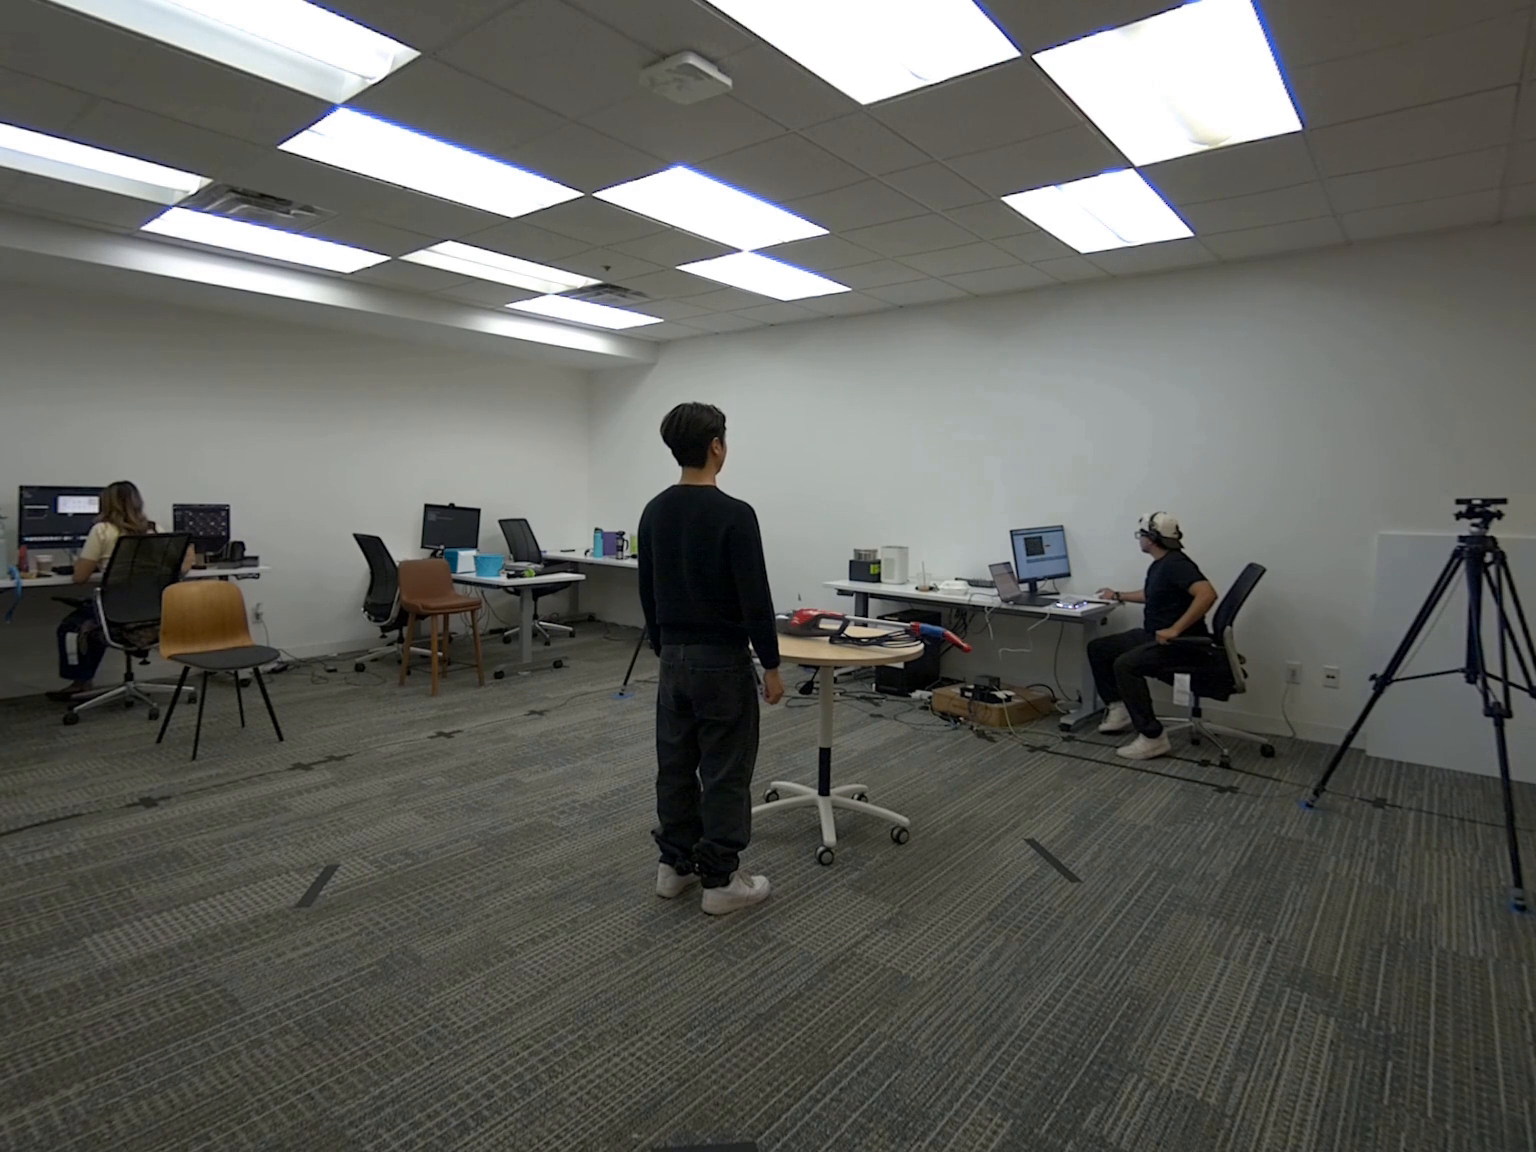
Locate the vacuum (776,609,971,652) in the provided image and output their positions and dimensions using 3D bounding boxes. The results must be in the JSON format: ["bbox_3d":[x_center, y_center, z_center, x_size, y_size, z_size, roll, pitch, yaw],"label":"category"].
[{"bbox_3d":[0.323,0.217,3.366,0.246,0.142,1.086,-14,14,-43],"label":"vacuum"}]
